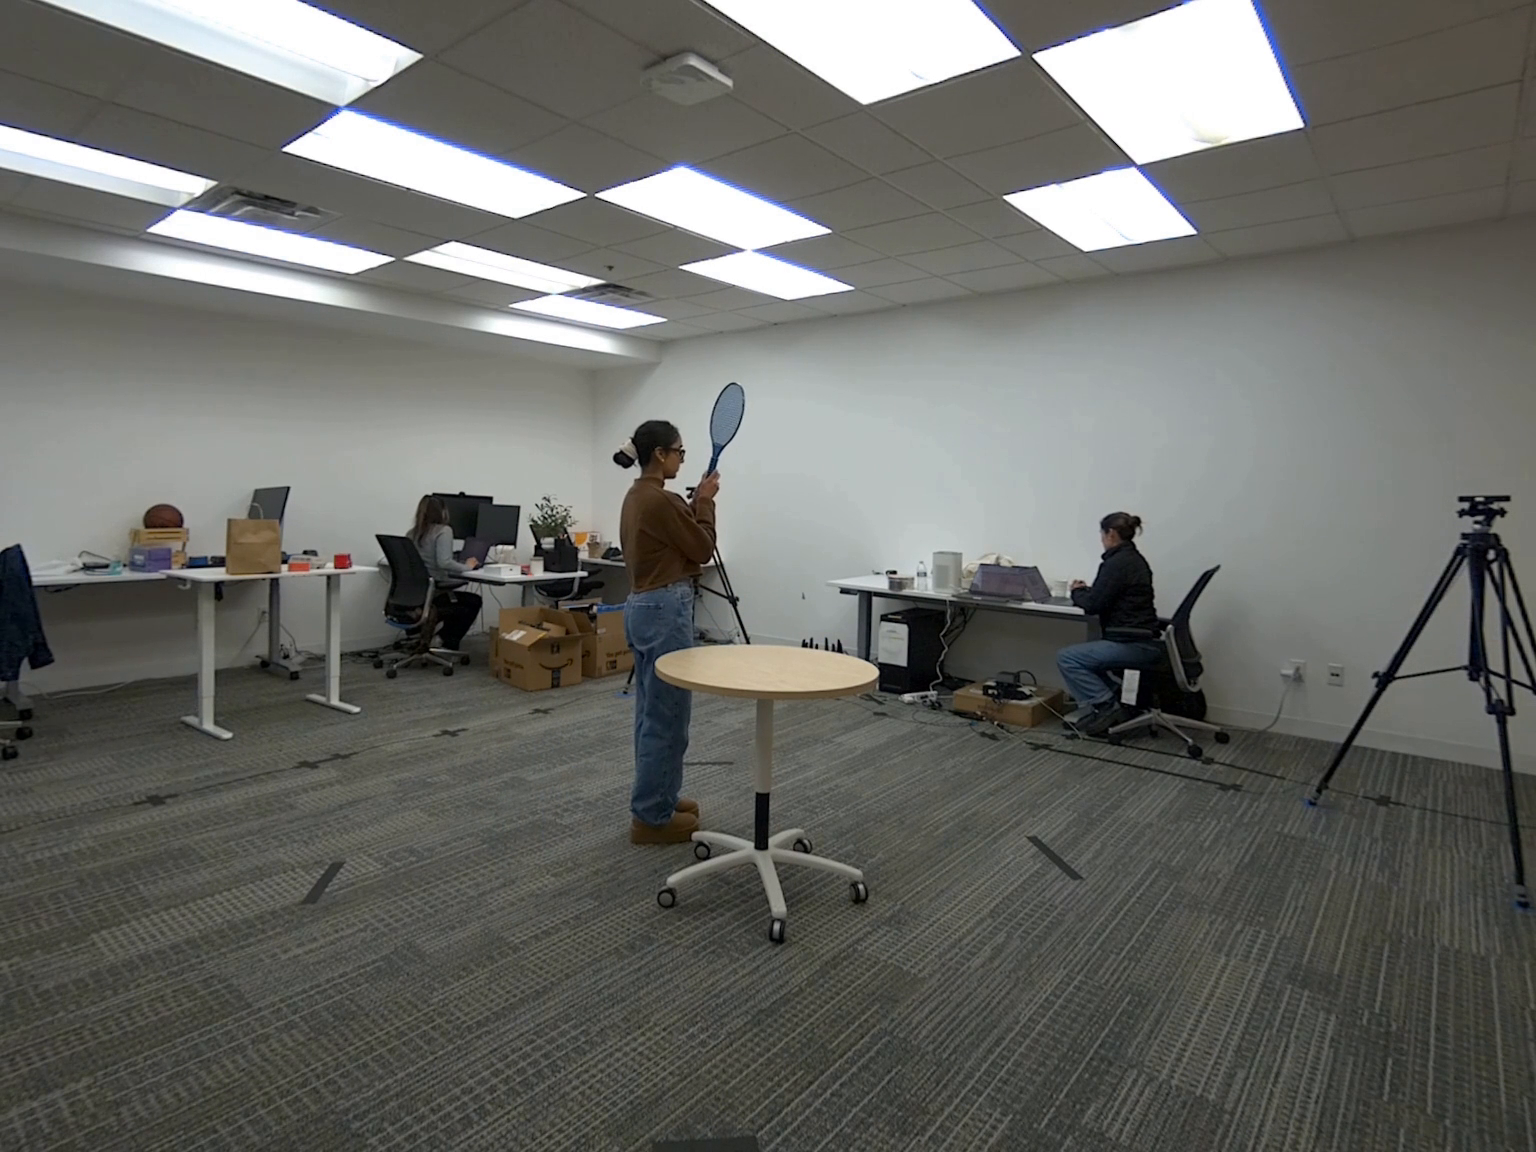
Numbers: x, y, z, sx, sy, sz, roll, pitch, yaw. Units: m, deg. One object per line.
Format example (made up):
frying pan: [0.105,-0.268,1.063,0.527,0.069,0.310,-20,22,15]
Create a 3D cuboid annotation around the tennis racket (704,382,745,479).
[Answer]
tennis racket: [-0.206,-0.576,3.438,0.030,0.432,0.222,14,6,-38]
